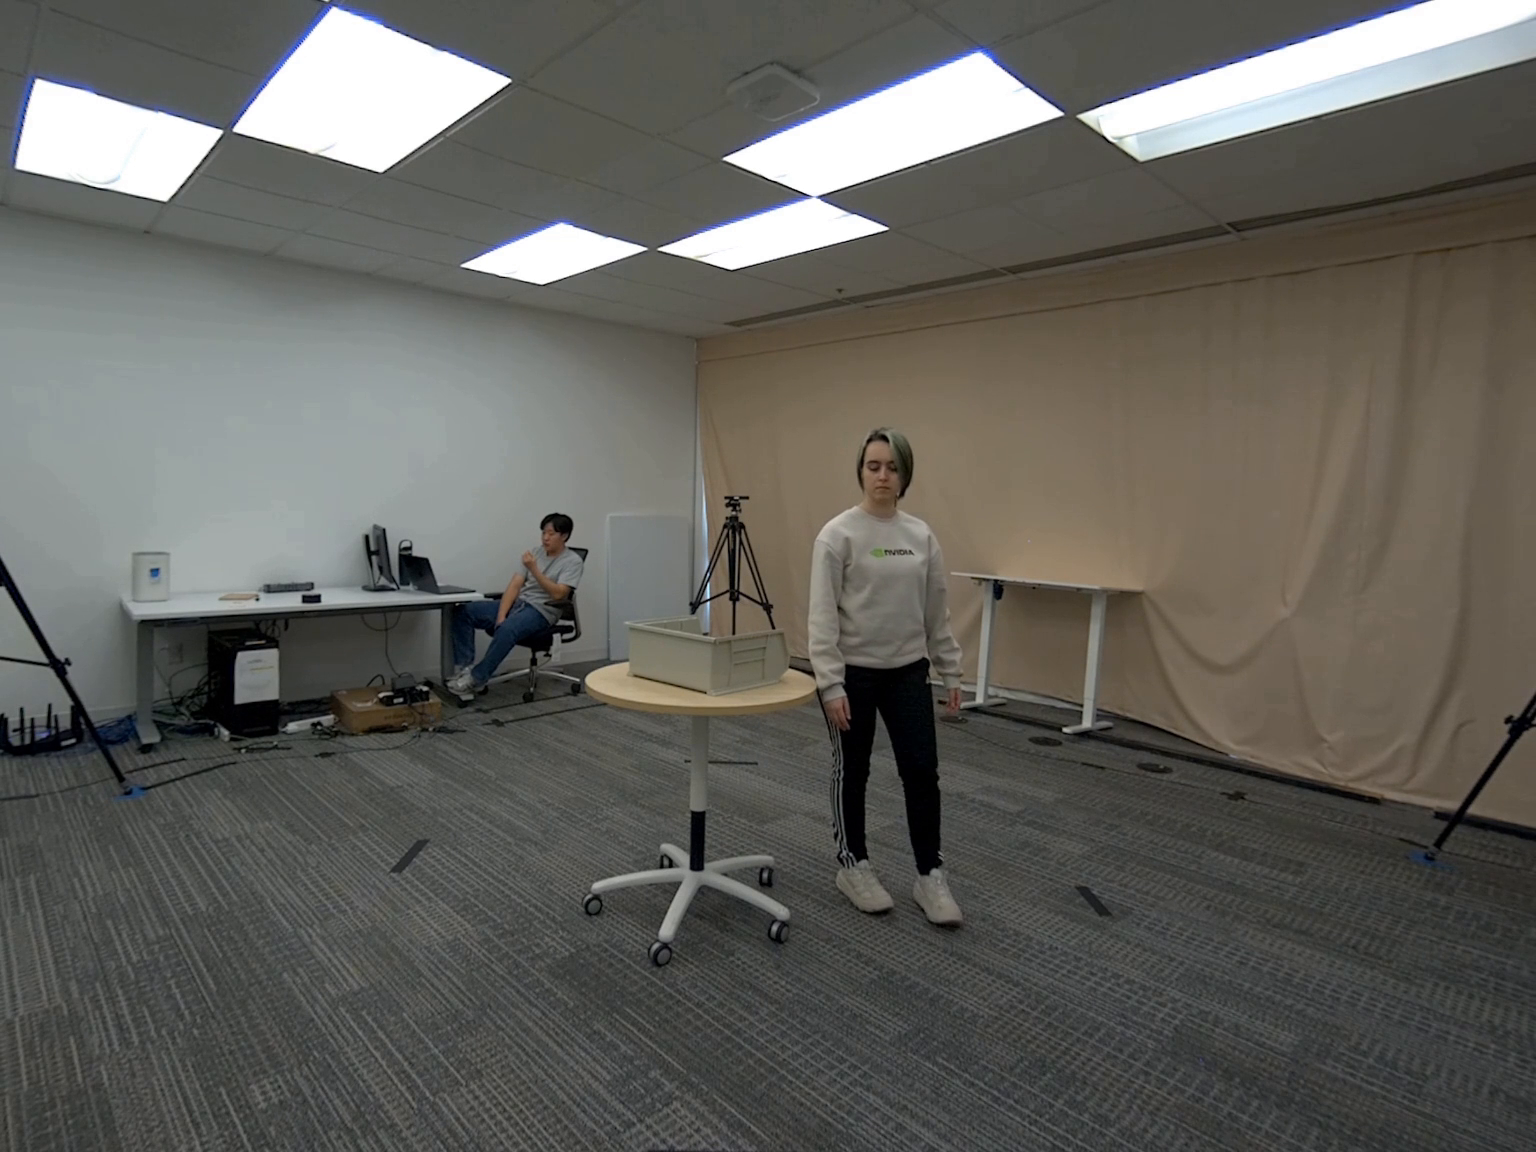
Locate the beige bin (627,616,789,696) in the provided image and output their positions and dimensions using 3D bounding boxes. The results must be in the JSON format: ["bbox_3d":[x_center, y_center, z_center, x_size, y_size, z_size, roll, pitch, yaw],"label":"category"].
[{"bbox_3d":[-0.208,0.253,2.814,0.433,0.188,0.369,6,8,40],"label":"beige bin"}]
